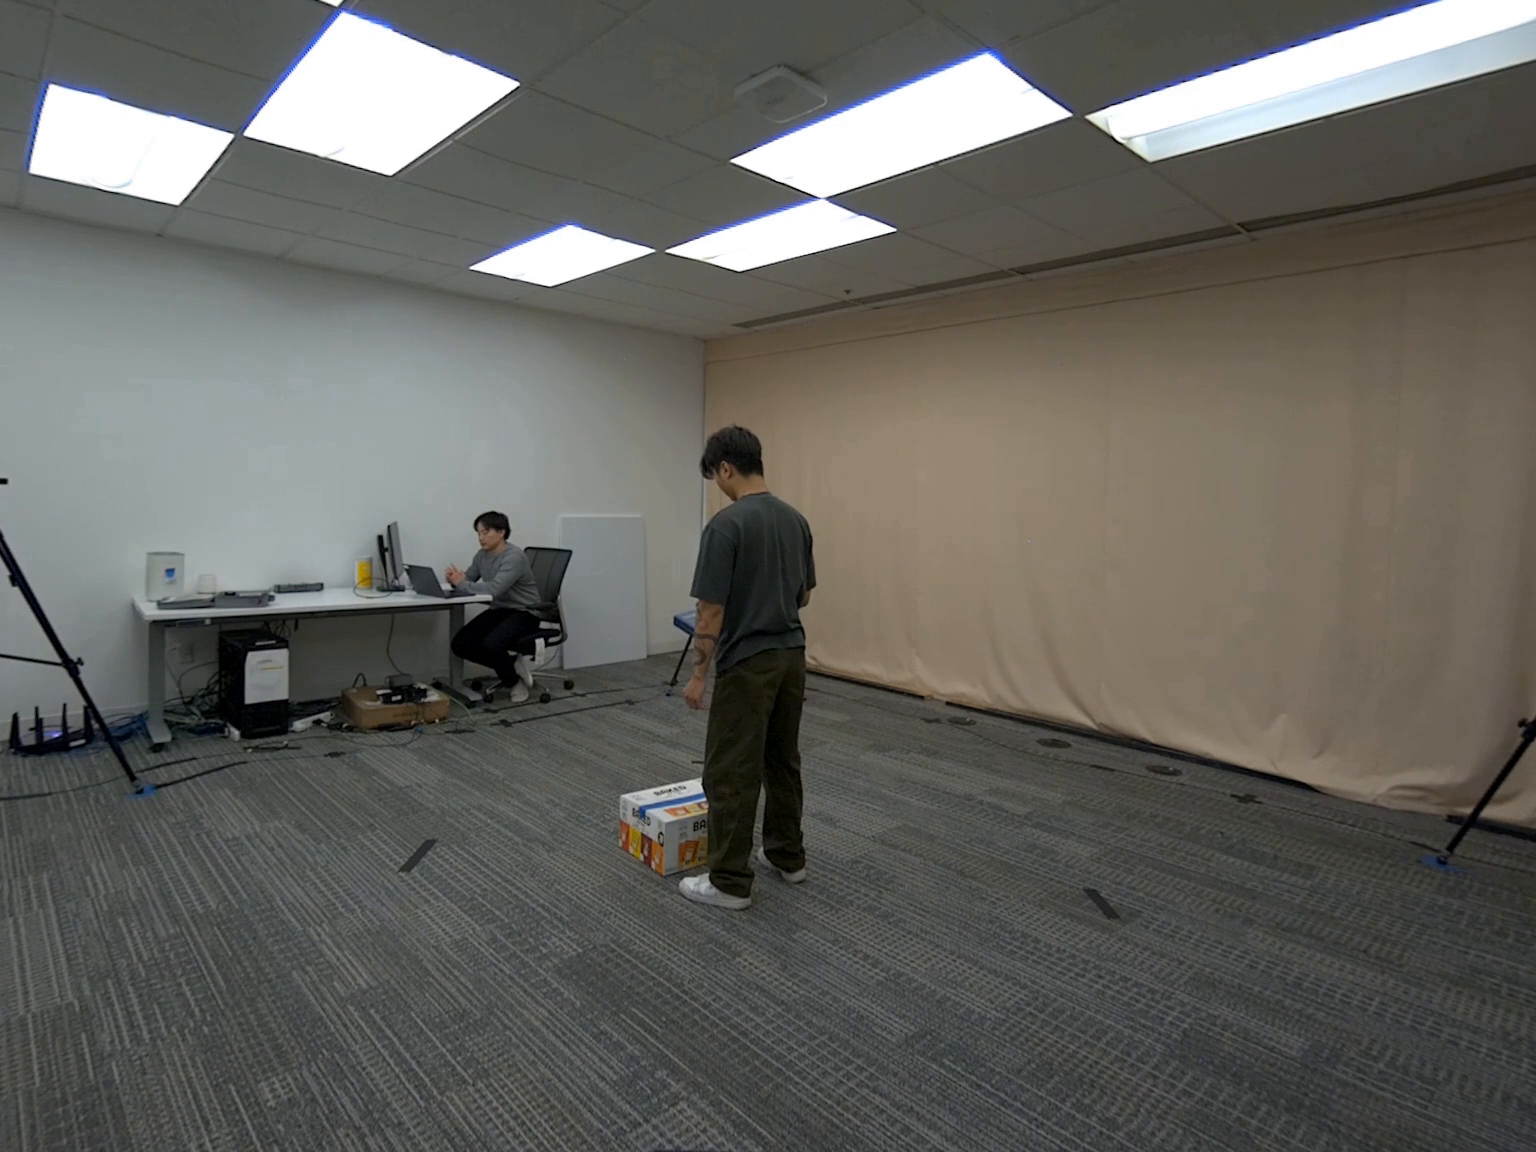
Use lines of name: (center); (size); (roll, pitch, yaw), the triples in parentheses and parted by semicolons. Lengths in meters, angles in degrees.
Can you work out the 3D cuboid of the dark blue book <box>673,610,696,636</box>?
dark blue book: (-0.233, 0.202, 3.247); (0.160, 0.044, 0.253); (-14, 28, -37)
